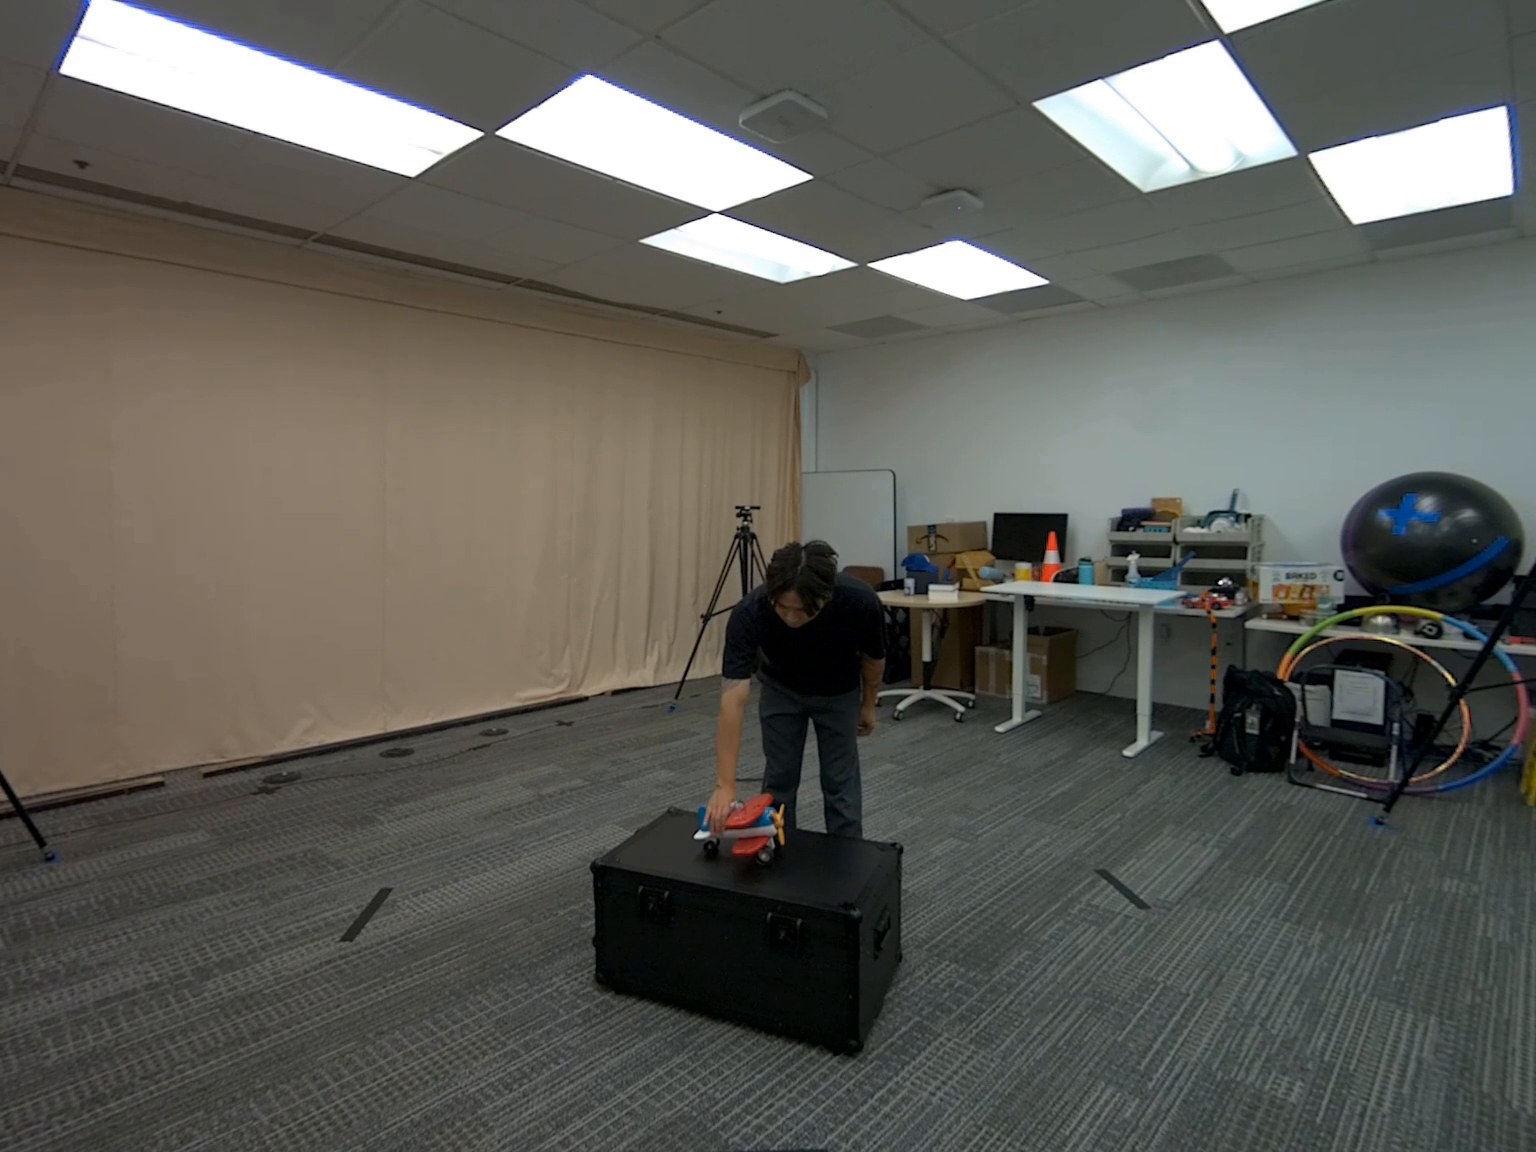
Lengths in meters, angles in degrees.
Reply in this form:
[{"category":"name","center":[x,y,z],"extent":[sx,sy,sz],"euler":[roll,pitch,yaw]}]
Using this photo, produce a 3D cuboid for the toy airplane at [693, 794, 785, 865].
[{"category":"toy airplane","center":[-0.081,0.739,2.434],"extent":[0.258,0.156,0.253],"euler":[0,4,-6]}]
